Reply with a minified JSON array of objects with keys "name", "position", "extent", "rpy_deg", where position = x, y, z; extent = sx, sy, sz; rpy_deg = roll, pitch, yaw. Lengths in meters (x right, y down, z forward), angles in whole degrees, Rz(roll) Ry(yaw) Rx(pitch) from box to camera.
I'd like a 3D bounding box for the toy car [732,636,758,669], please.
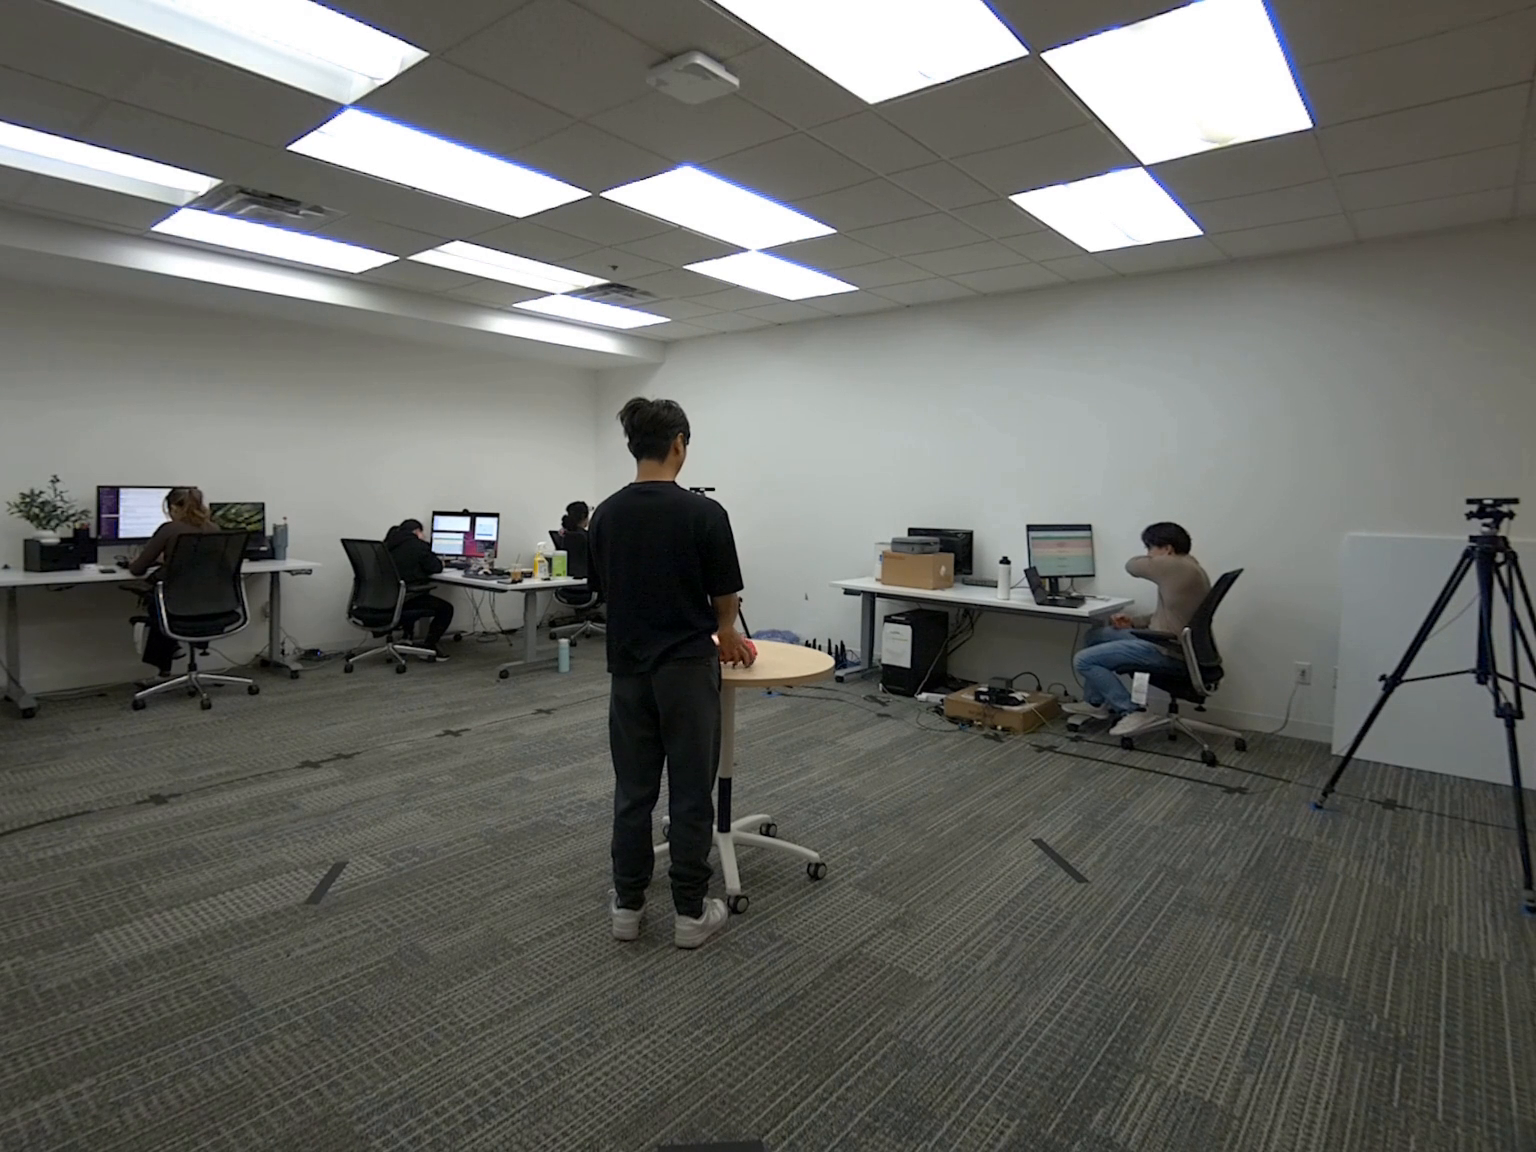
[{"name":"toy car","position":[-0.179,0.253,2.915],"extent":[0.250,0.082,0.134],"rpy_deg":[10,20,-15]}]
